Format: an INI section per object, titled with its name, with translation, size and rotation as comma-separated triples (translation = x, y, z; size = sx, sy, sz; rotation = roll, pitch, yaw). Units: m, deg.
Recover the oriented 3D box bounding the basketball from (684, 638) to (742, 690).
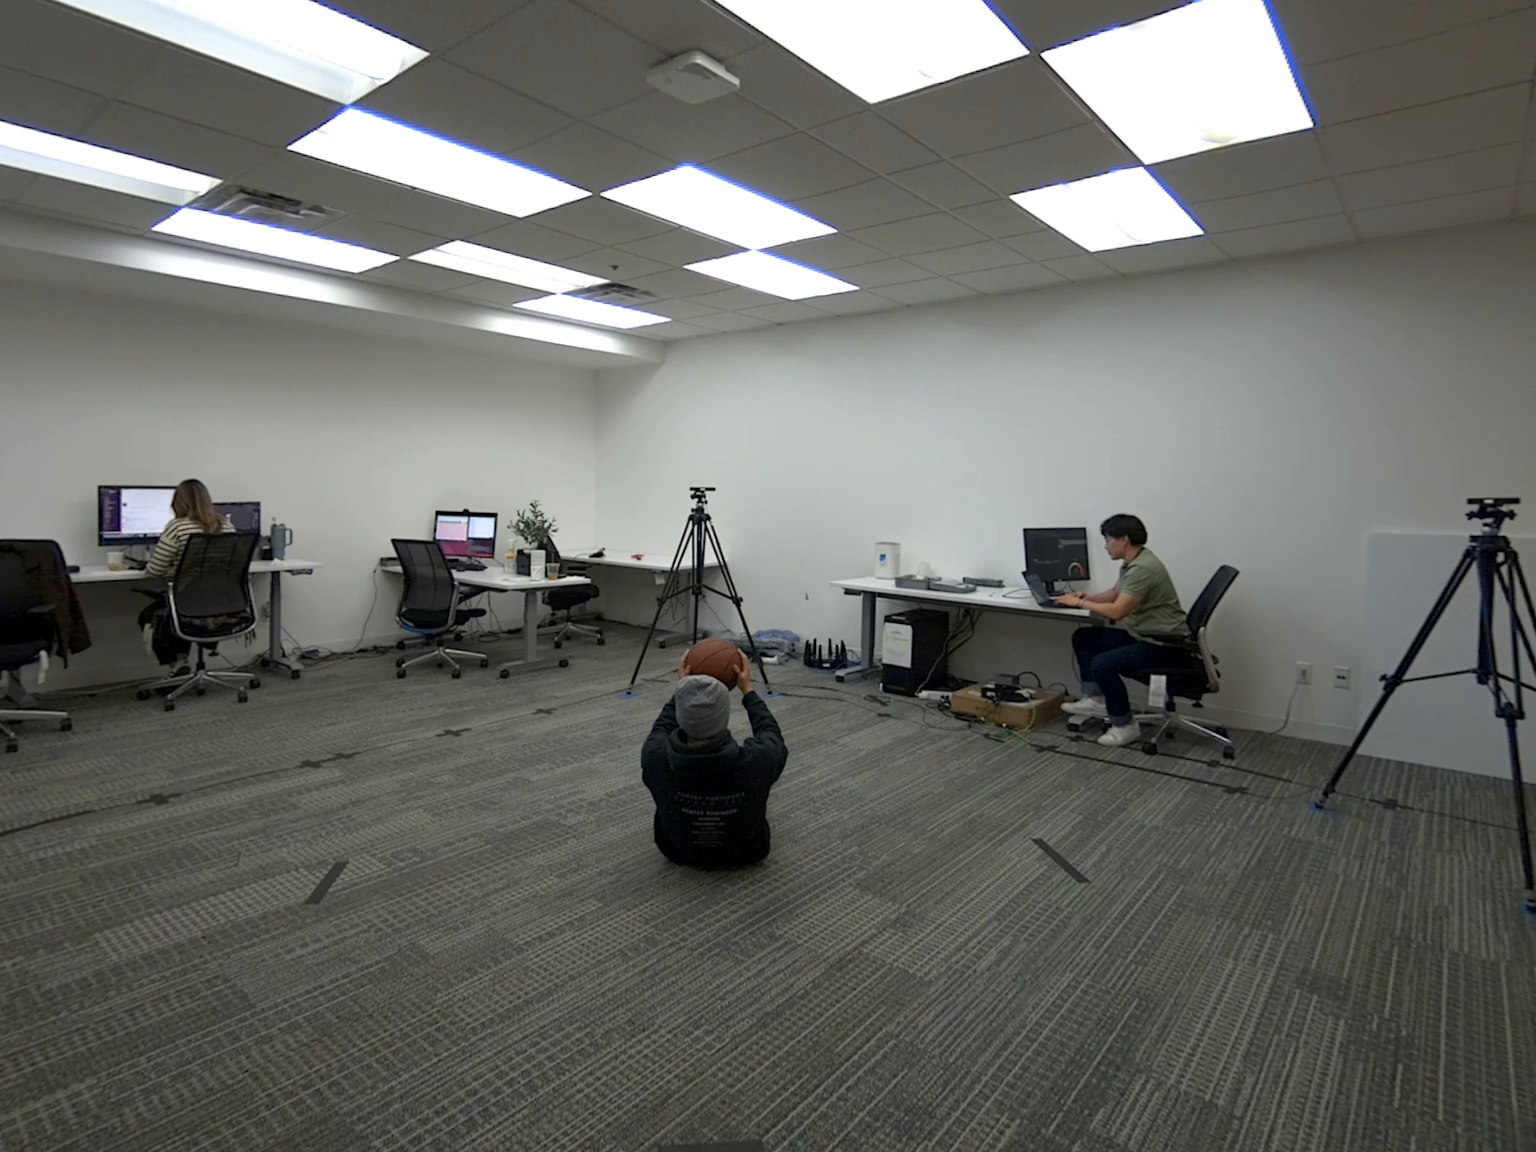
[basketball]
translation = -0.225, 0.369, 3.475
size = 0.235, 0.235, 0.237
rotation = 1, 4, -2
